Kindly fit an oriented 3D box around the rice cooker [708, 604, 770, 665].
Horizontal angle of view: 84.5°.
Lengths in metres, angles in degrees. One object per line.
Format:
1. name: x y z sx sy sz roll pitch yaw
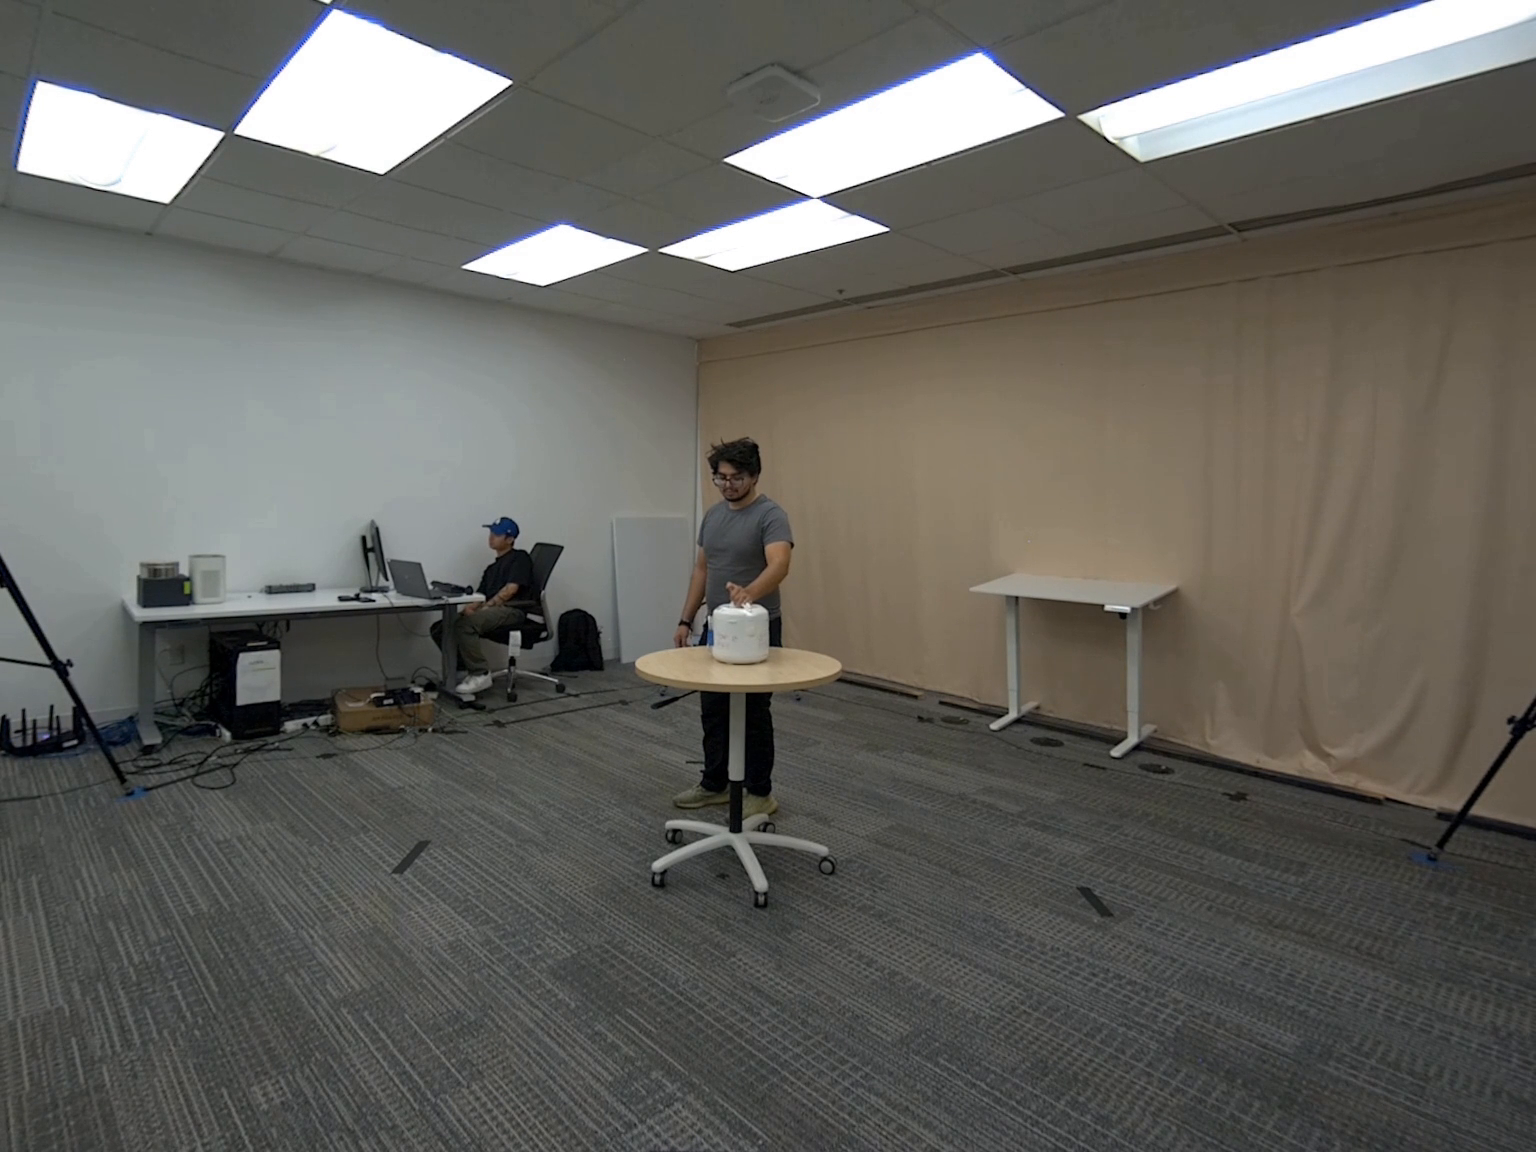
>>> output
1. rice cooker: -0.115 0.206 3.174 0.214 0.232 0.225 -2 5 -23
